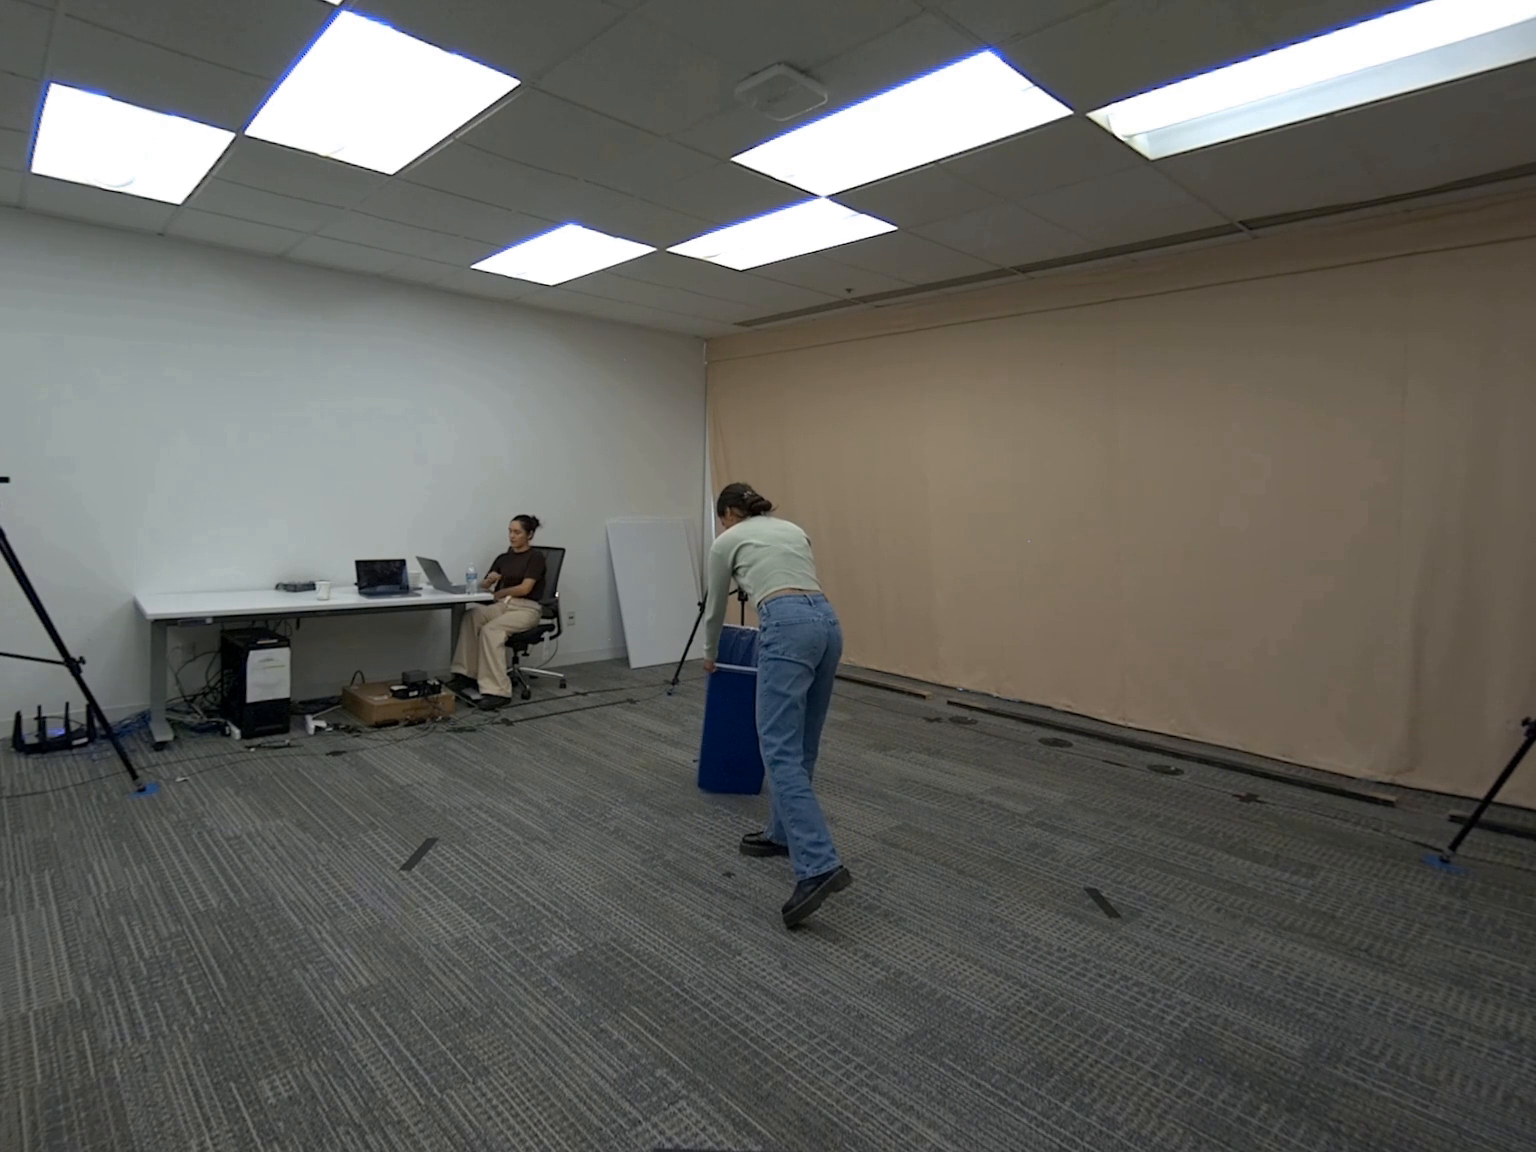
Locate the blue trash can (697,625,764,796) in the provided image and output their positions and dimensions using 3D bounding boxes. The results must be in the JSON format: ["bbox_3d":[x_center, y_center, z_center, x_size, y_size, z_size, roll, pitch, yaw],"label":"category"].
[{"bbox_3d":[-0.146,0.639,3.937,0.377,0.703,0.380,6,24,-4],"label":"blue trash can"}]
